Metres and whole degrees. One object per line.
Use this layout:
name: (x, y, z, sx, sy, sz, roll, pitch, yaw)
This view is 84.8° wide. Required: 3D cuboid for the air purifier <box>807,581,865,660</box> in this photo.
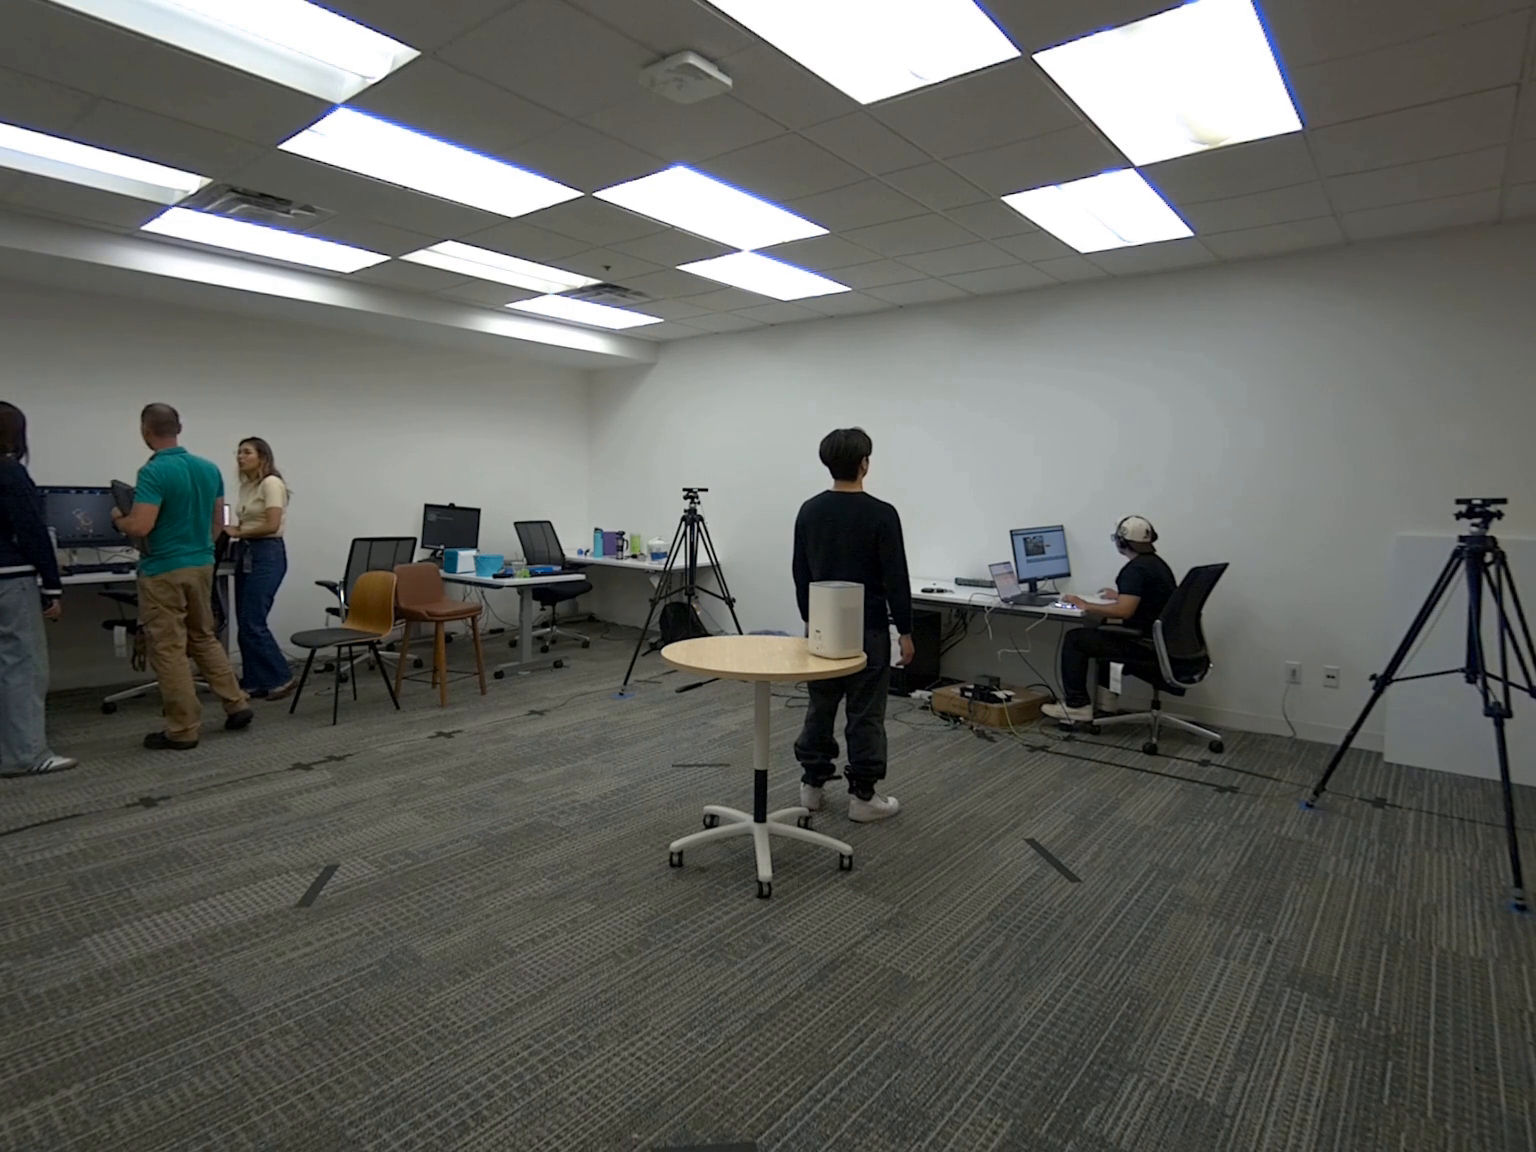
air purifier: (0.239, 0.160, 3.132, 0.167, 0.264, 0.176, -1, 5, -31)
